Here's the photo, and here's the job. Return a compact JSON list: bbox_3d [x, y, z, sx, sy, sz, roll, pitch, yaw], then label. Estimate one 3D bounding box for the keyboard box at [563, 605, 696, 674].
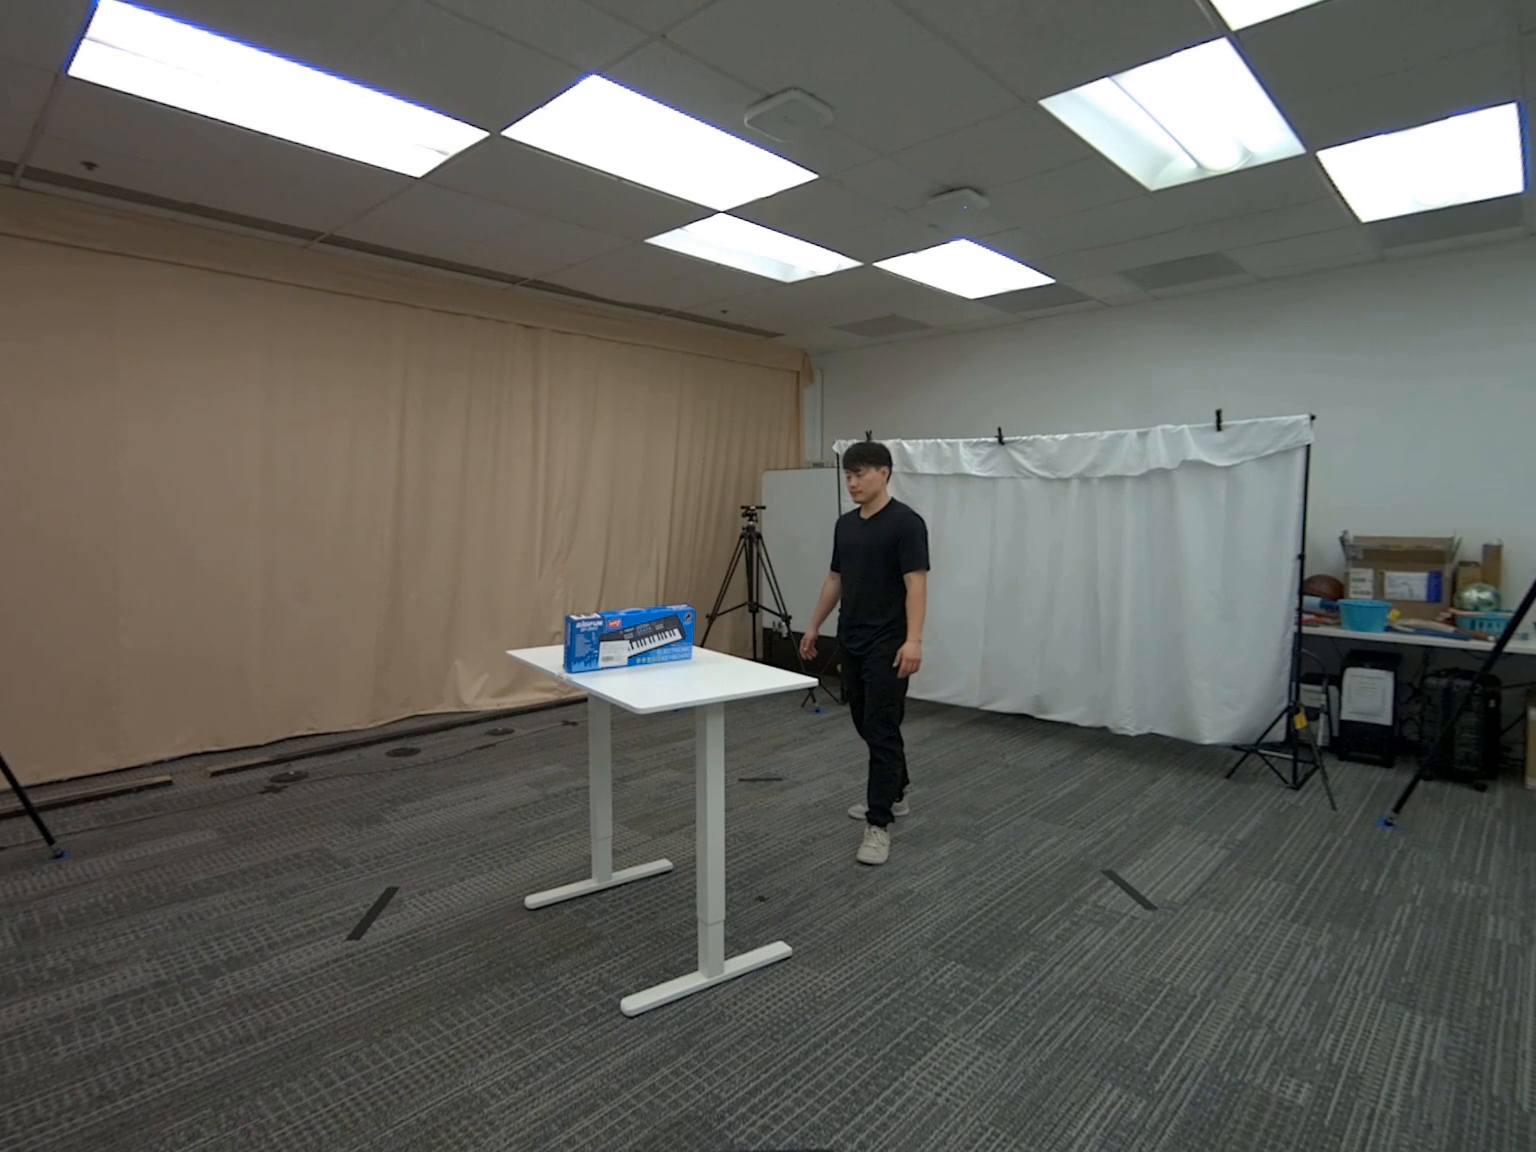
[{"bbox_3d":[-0.437,0.201,2.696,0.425,0.175,0.061,-4,13,-33],"label":"keyboard box"}]
